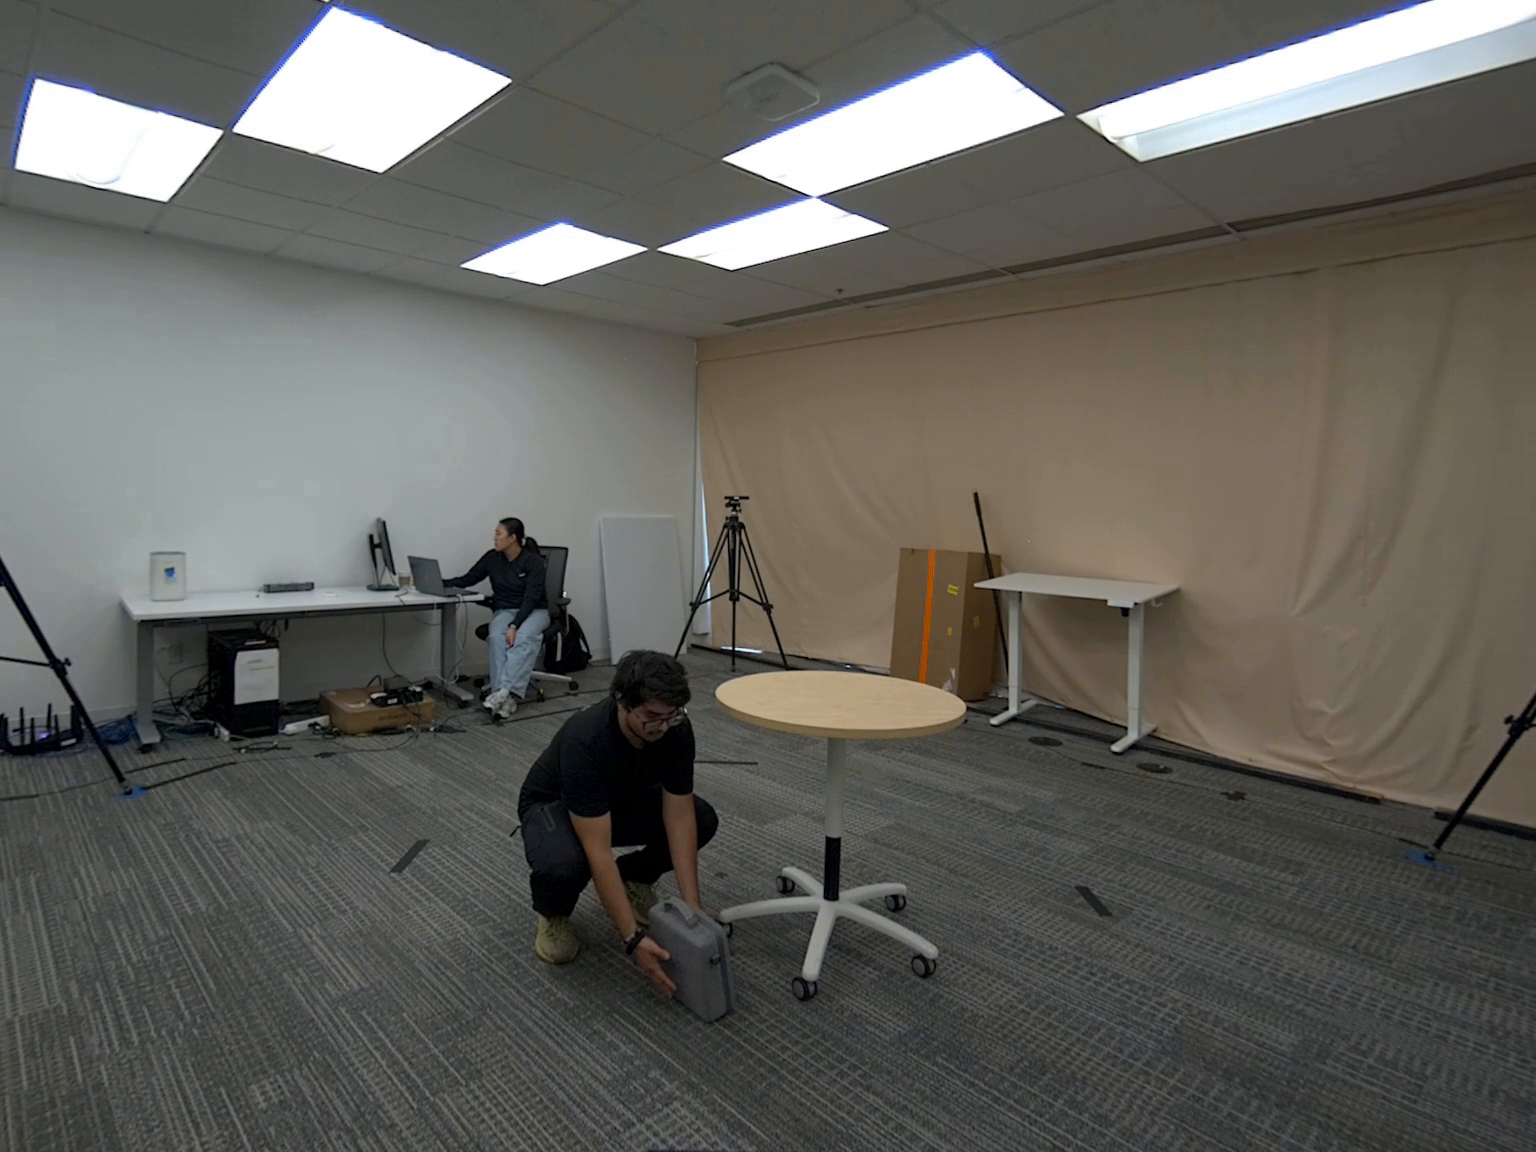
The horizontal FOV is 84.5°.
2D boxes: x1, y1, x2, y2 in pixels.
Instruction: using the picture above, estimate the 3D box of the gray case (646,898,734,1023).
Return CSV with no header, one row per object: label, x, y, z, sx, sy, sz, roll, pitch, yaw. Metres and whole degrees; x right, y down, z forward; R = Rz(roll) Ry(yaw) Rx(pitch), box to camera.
gray case,-0.226,1.048,2.297,0.102,0.258,0.264,-14,14,-39
